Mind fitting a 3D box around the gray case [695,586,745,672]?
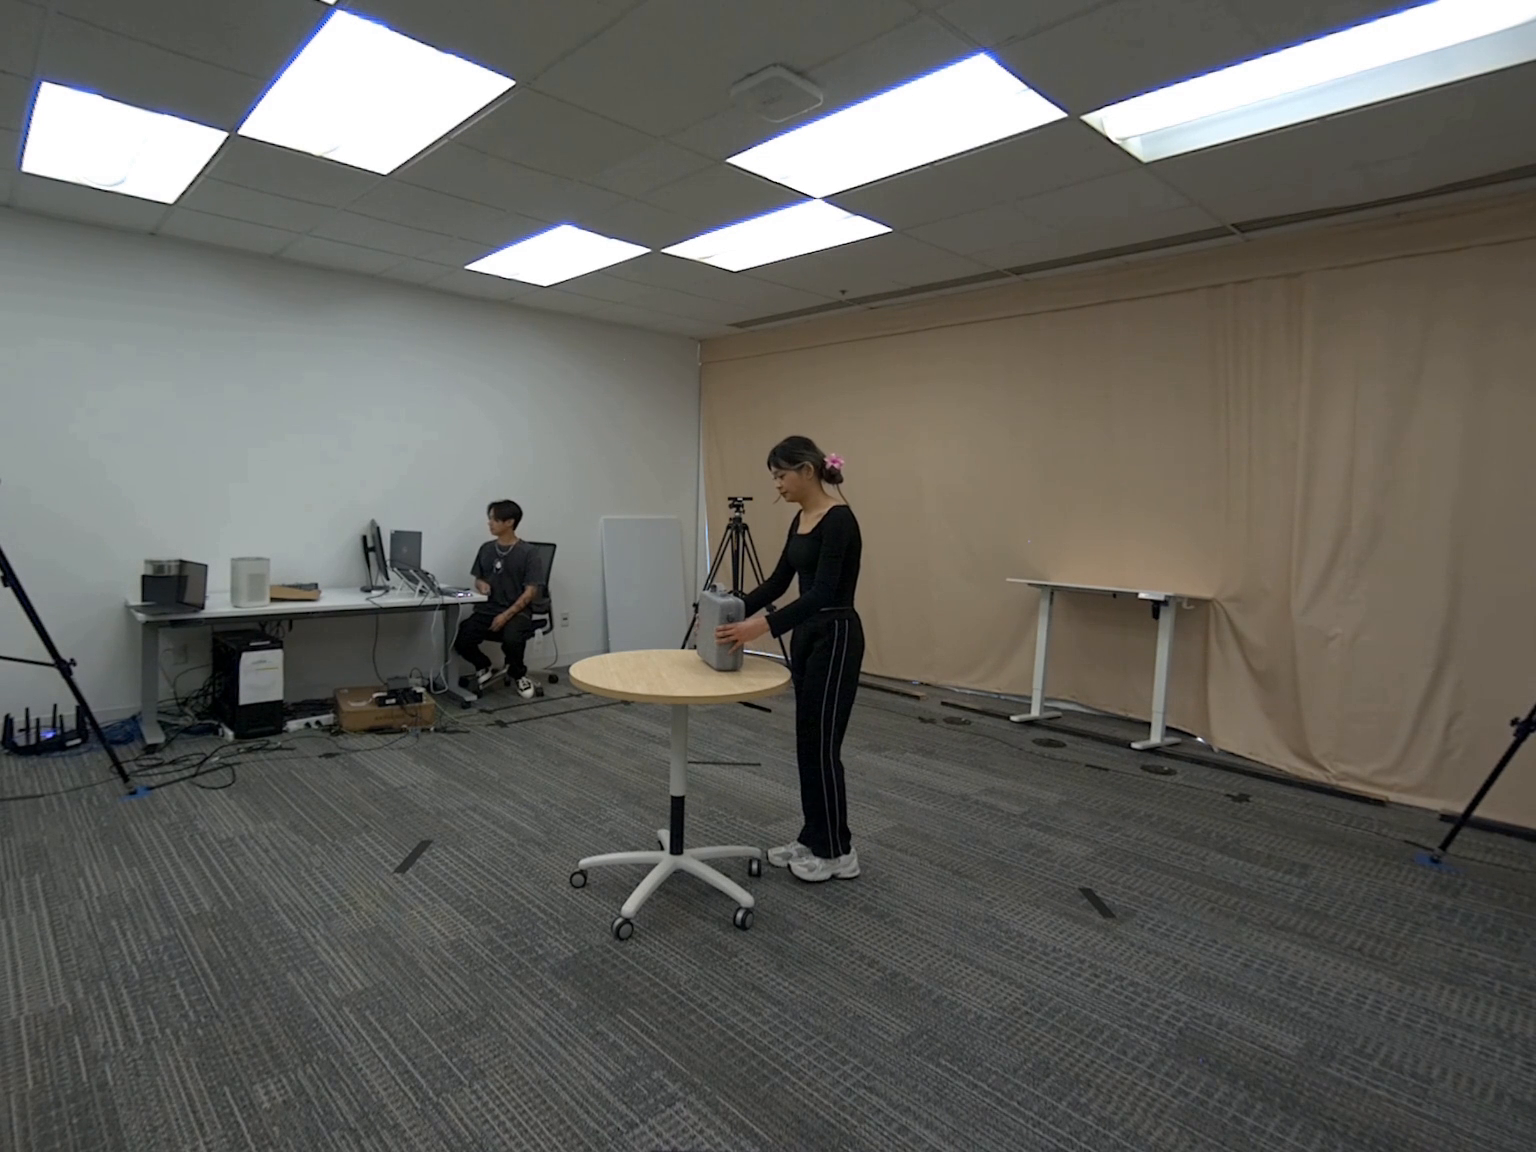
[{"bbox_3d":[-0.177,0.187,3.002,0.103,0.259,0.262,-1,7,-21],"label":"gray case"}]
